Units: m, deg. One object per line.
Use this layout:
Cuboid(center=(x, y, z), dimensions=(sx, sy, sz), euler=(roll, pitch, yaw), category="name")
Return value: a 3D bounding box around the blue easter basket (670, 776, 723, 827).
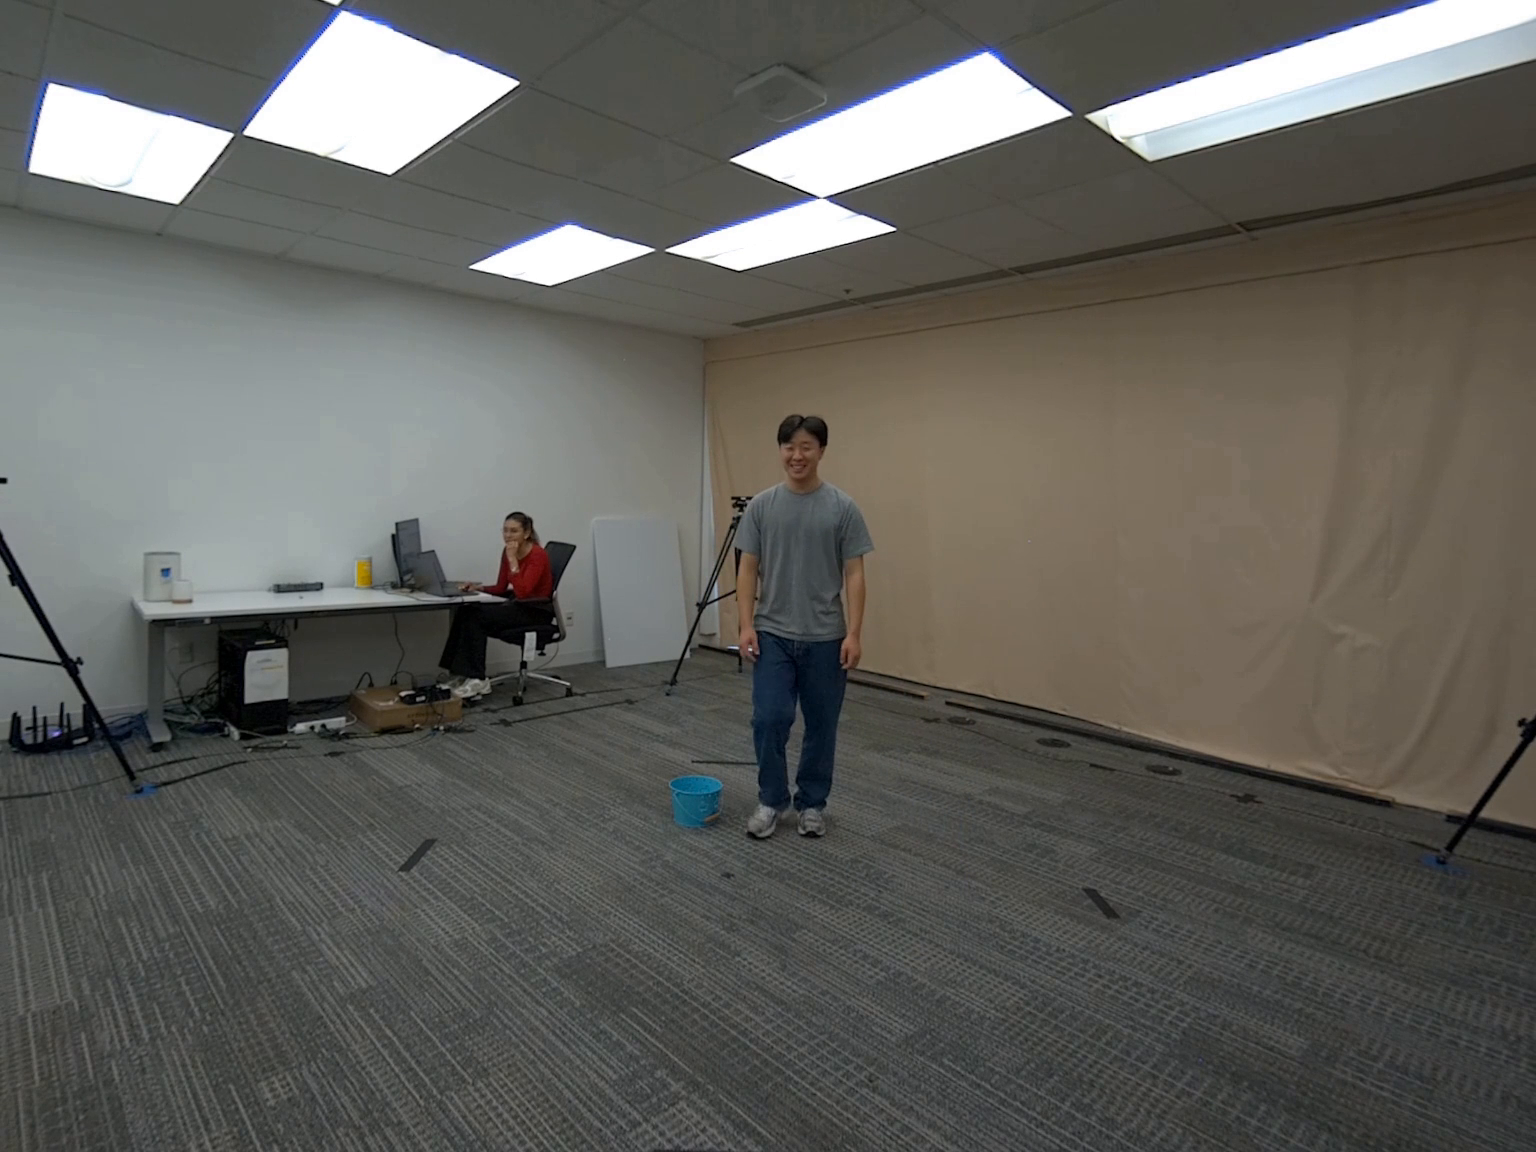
Cuboid(center=(-0.320, 0.973, 3.639), dimensions=(0.243, 0.155, 0.244), euler=(1, 4, -1), category="blue easter basket")
